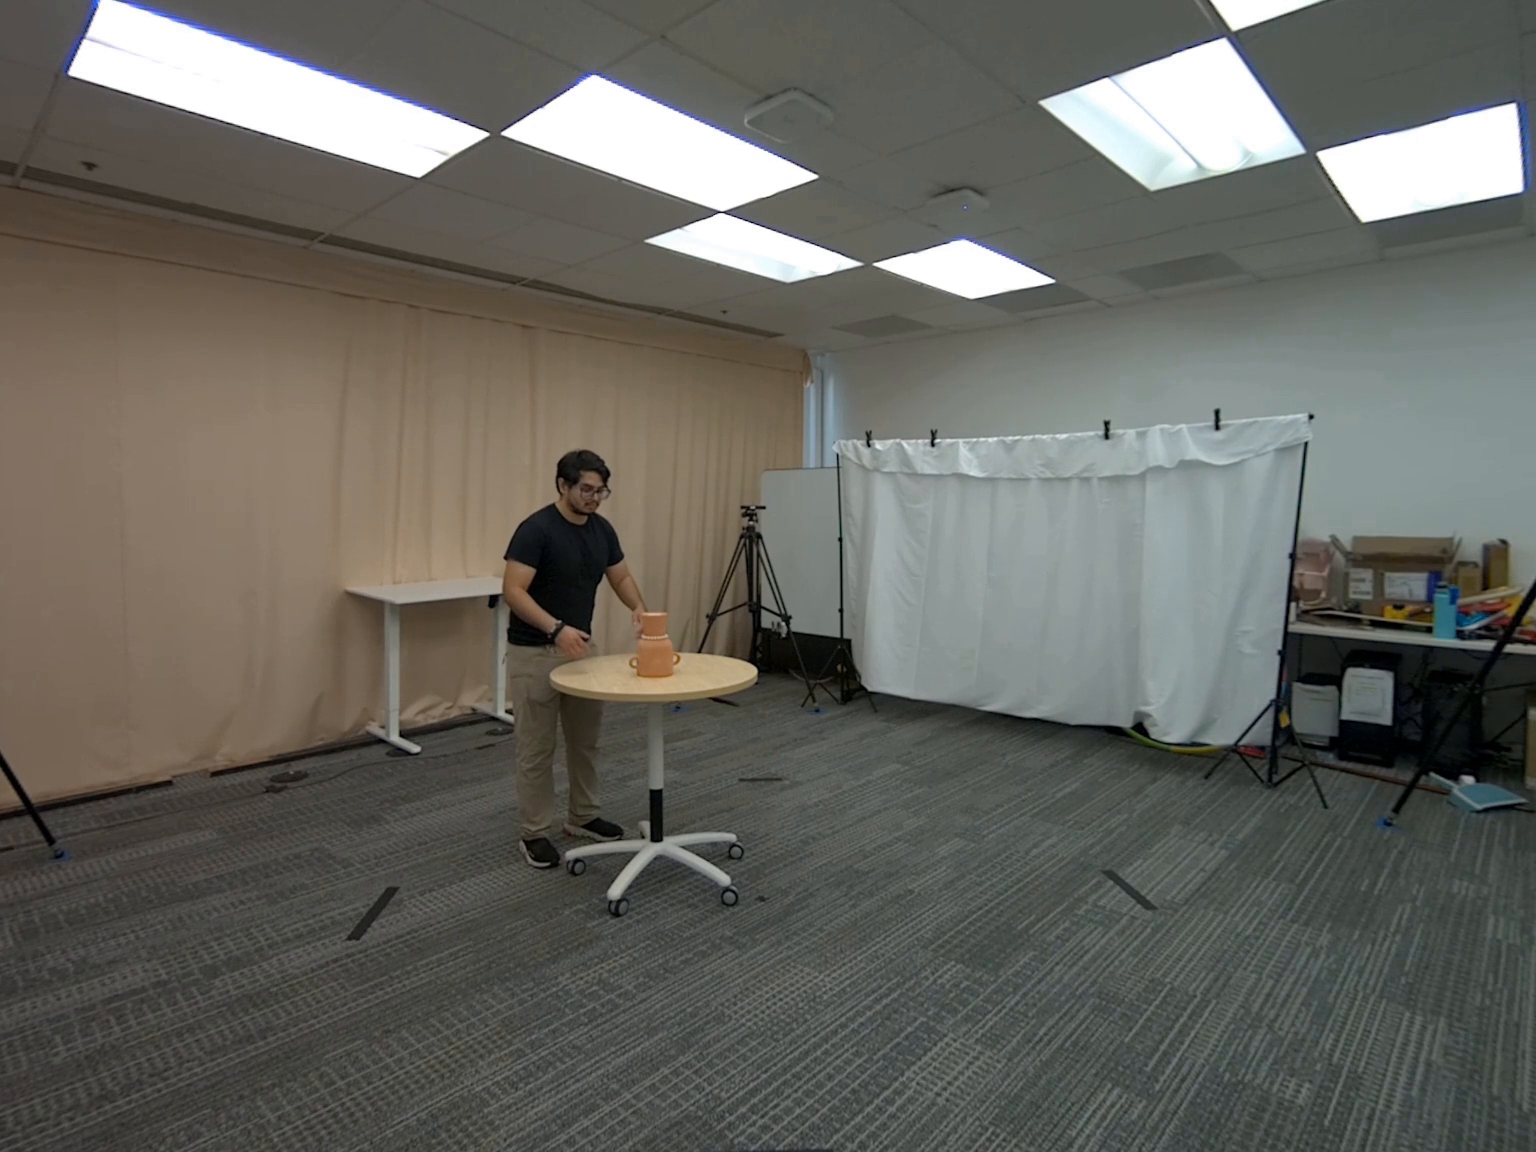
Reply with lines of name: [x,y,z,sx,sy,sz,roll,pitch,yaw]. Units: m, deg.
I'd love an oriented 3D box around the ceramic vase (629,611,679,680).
ceramic vase: [-0.417,0.250,3.062,0.138,0.219,0.155,0,3,25]
